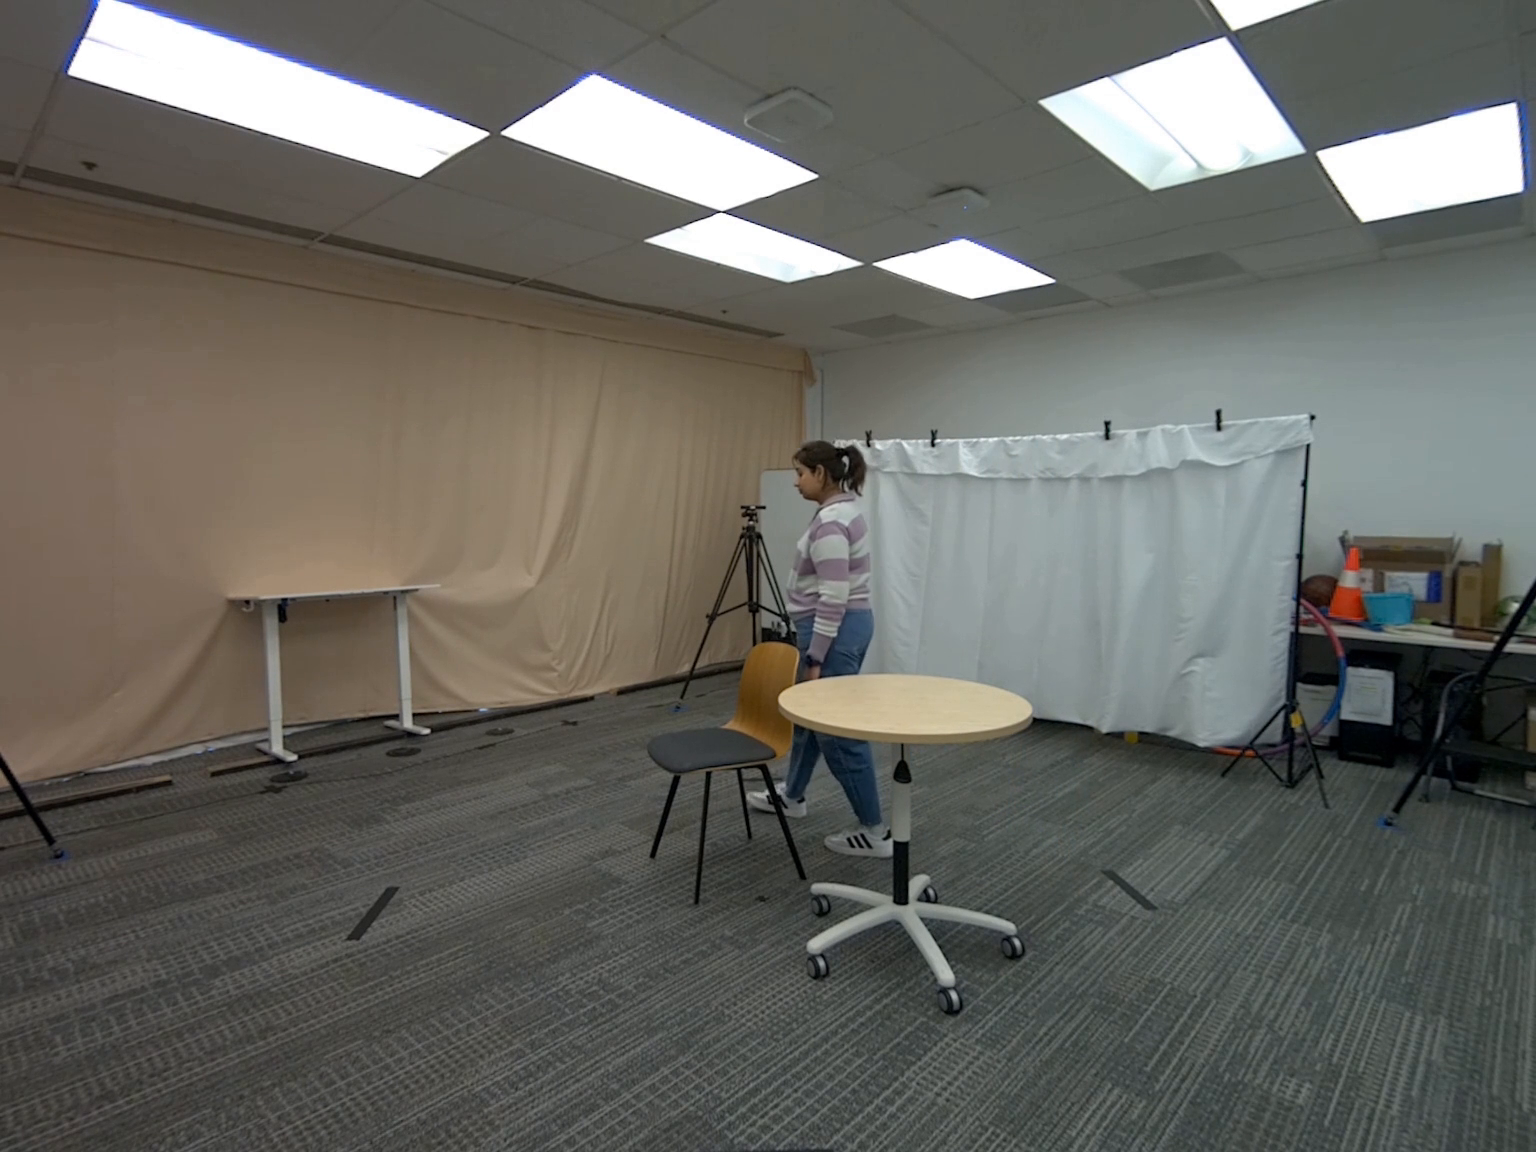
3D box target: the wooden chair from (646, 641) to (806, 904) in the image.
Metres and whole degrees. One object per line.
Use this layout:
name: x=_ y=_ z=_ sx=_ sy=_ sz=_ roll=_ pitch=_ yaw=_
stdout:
wooden chair: x=-0.170 y=0.699 z=3.202 sx=0.509 sy=0.877 sz=0.491 roll=3 pitch=2 yaw=-27
